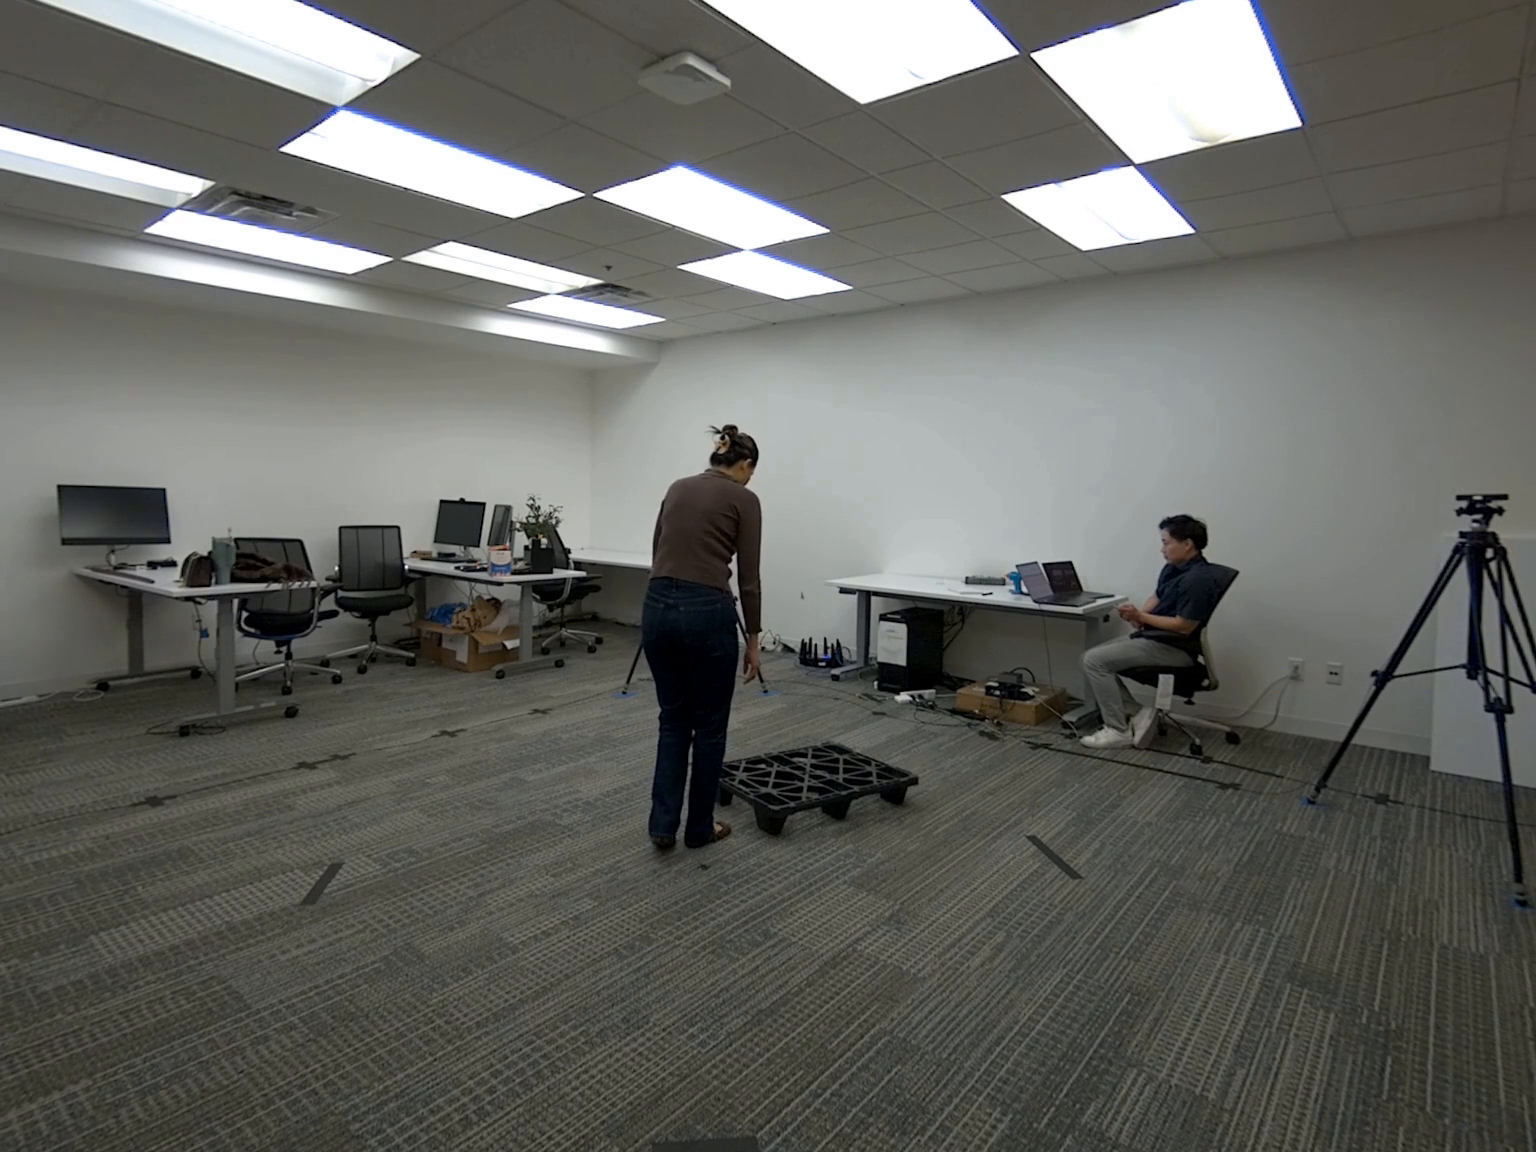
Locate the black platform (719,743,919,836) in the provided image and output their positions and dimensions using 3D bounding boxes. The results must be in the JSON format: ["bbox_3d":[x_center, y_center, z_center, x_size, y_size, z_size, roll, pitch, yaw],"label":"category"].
[{"bbox_3d":[0.159,0.934,3.802,0.783,0.143,0.625,-2,6,-34],"label":"black platform"}]
